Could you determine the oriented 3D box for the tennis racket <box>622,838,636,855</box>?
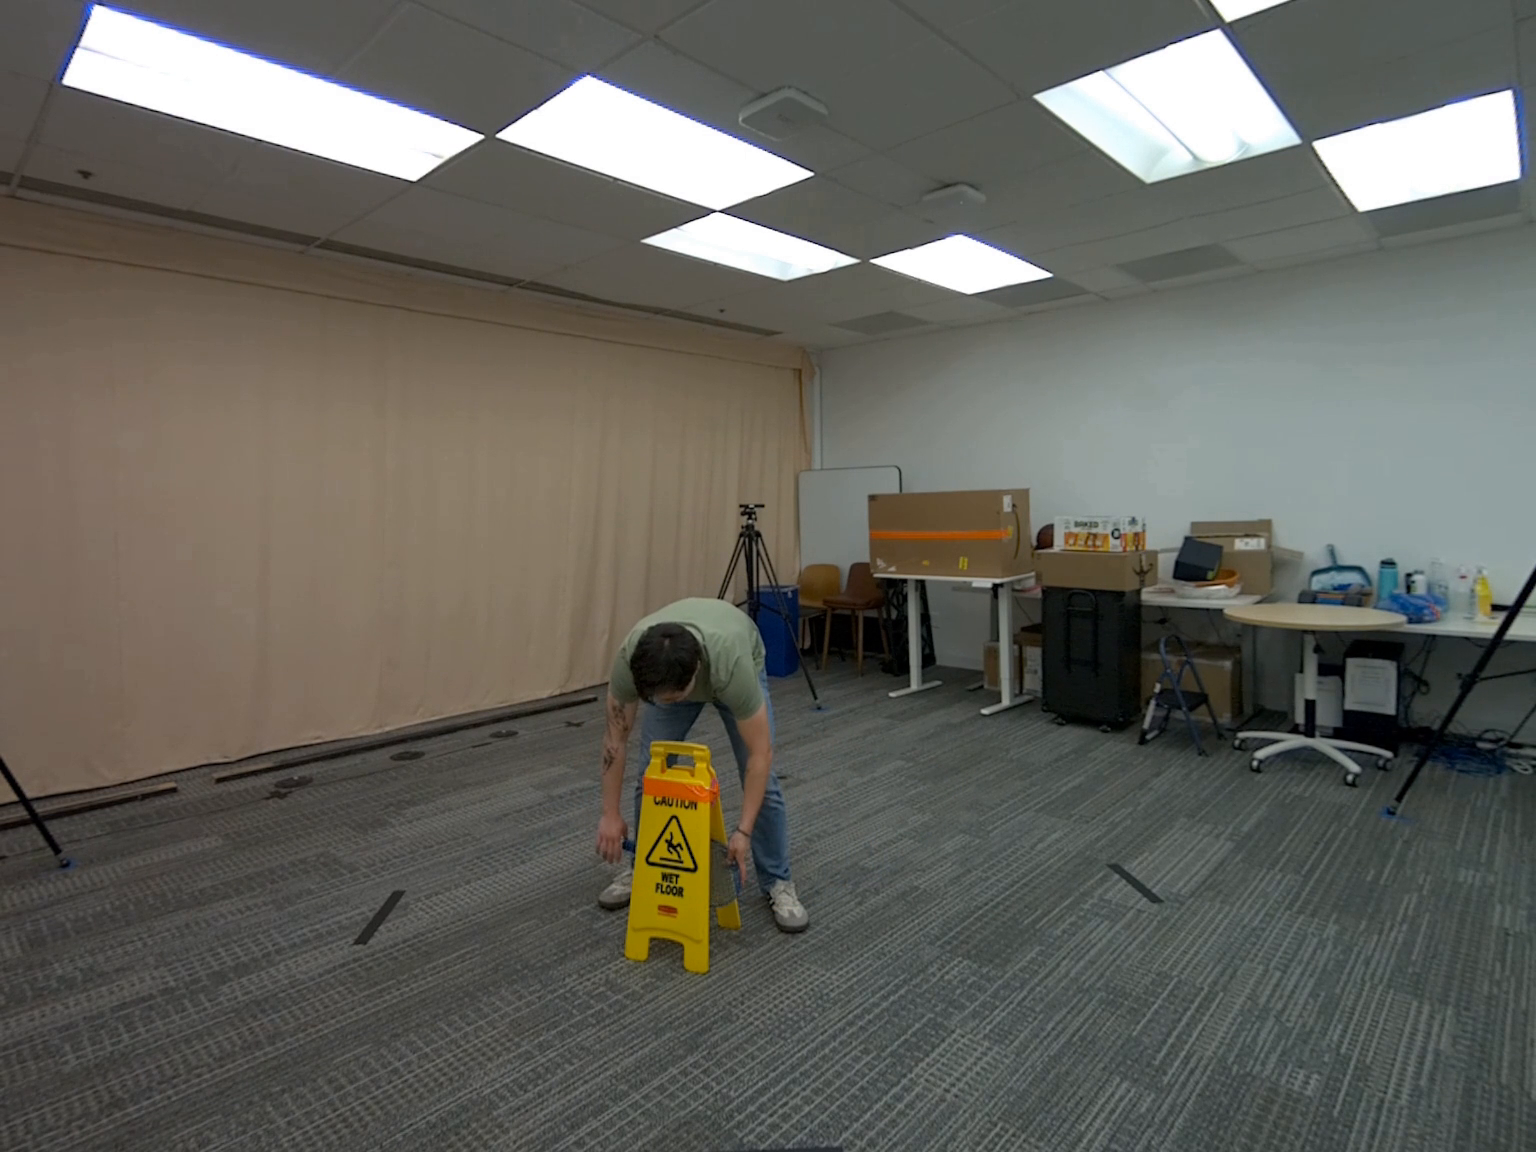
[{"bbox_3d":[-0.280,0.917,2.673,0.444,0.214,0.031,-1,-6,27],"label":"tennis racket"}]
